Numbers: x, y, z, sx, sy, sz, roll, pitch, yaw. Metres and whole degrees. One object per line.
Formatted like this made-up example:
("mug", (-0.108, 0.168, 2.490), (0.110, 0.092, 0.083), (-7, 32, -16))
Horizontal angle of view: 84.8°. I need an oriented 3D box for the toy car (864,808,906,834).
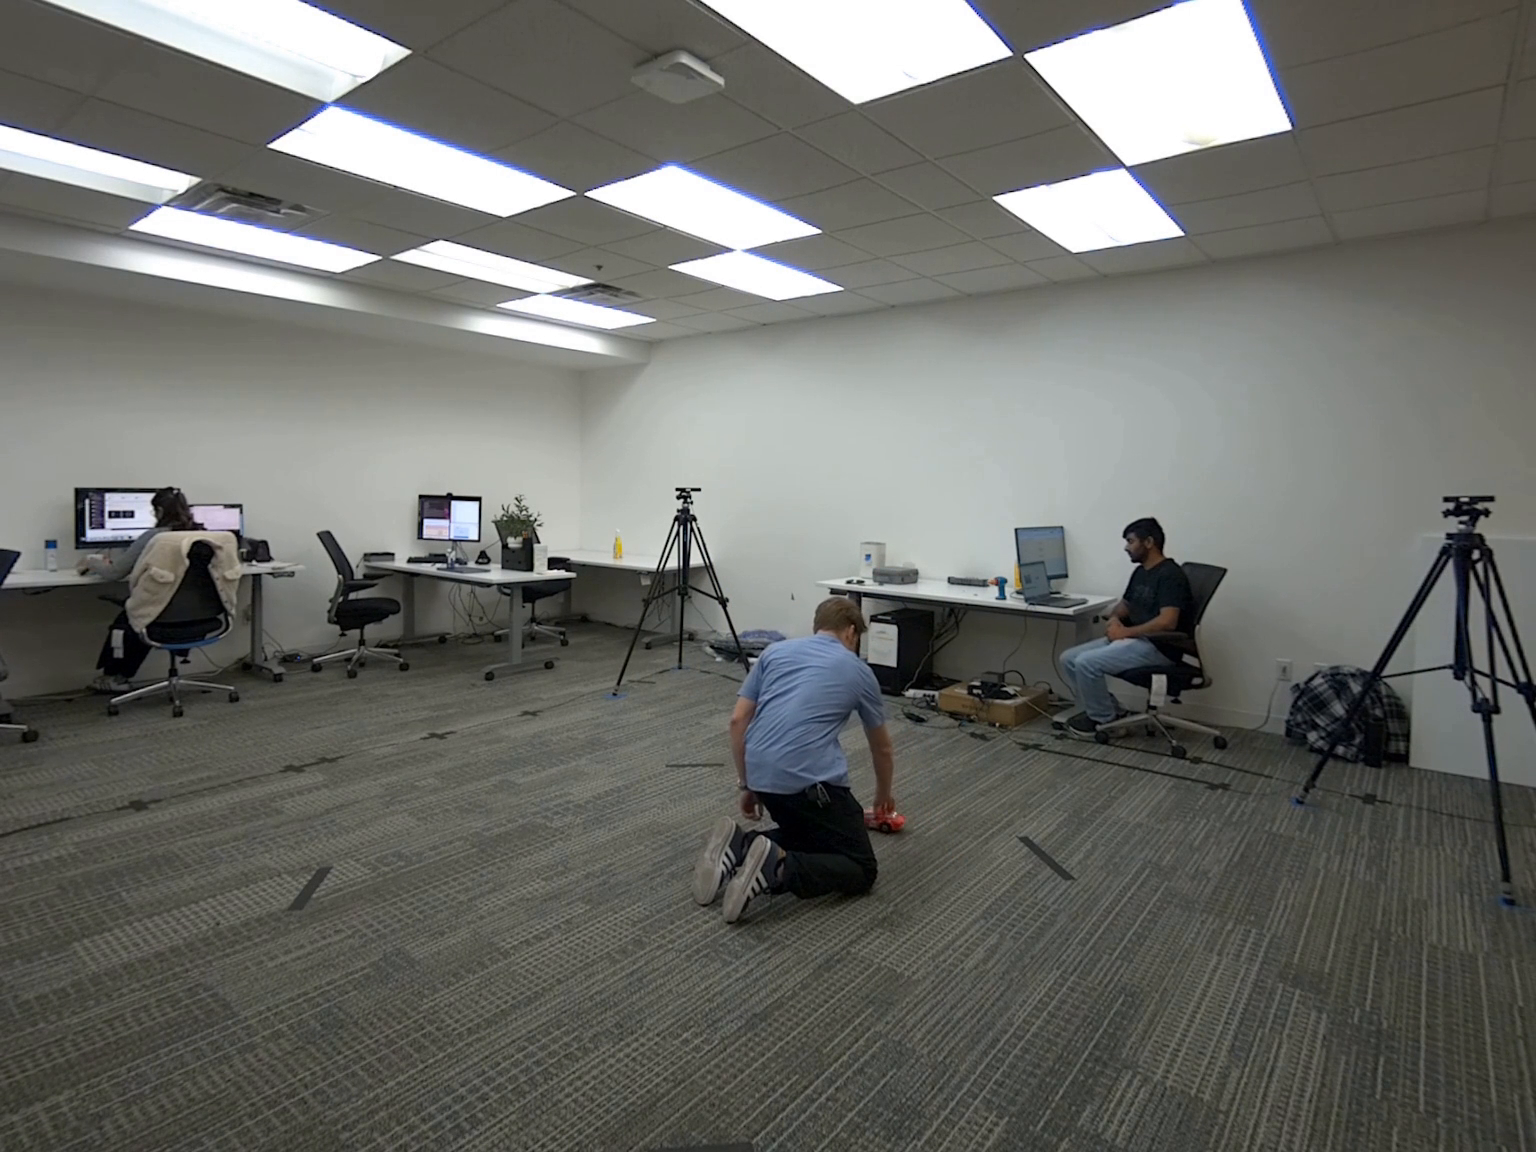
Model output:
("toy car", (0.445, 1.009, 3.530), (0.259, 0.083, 0.127), (-8, 0, 23))
